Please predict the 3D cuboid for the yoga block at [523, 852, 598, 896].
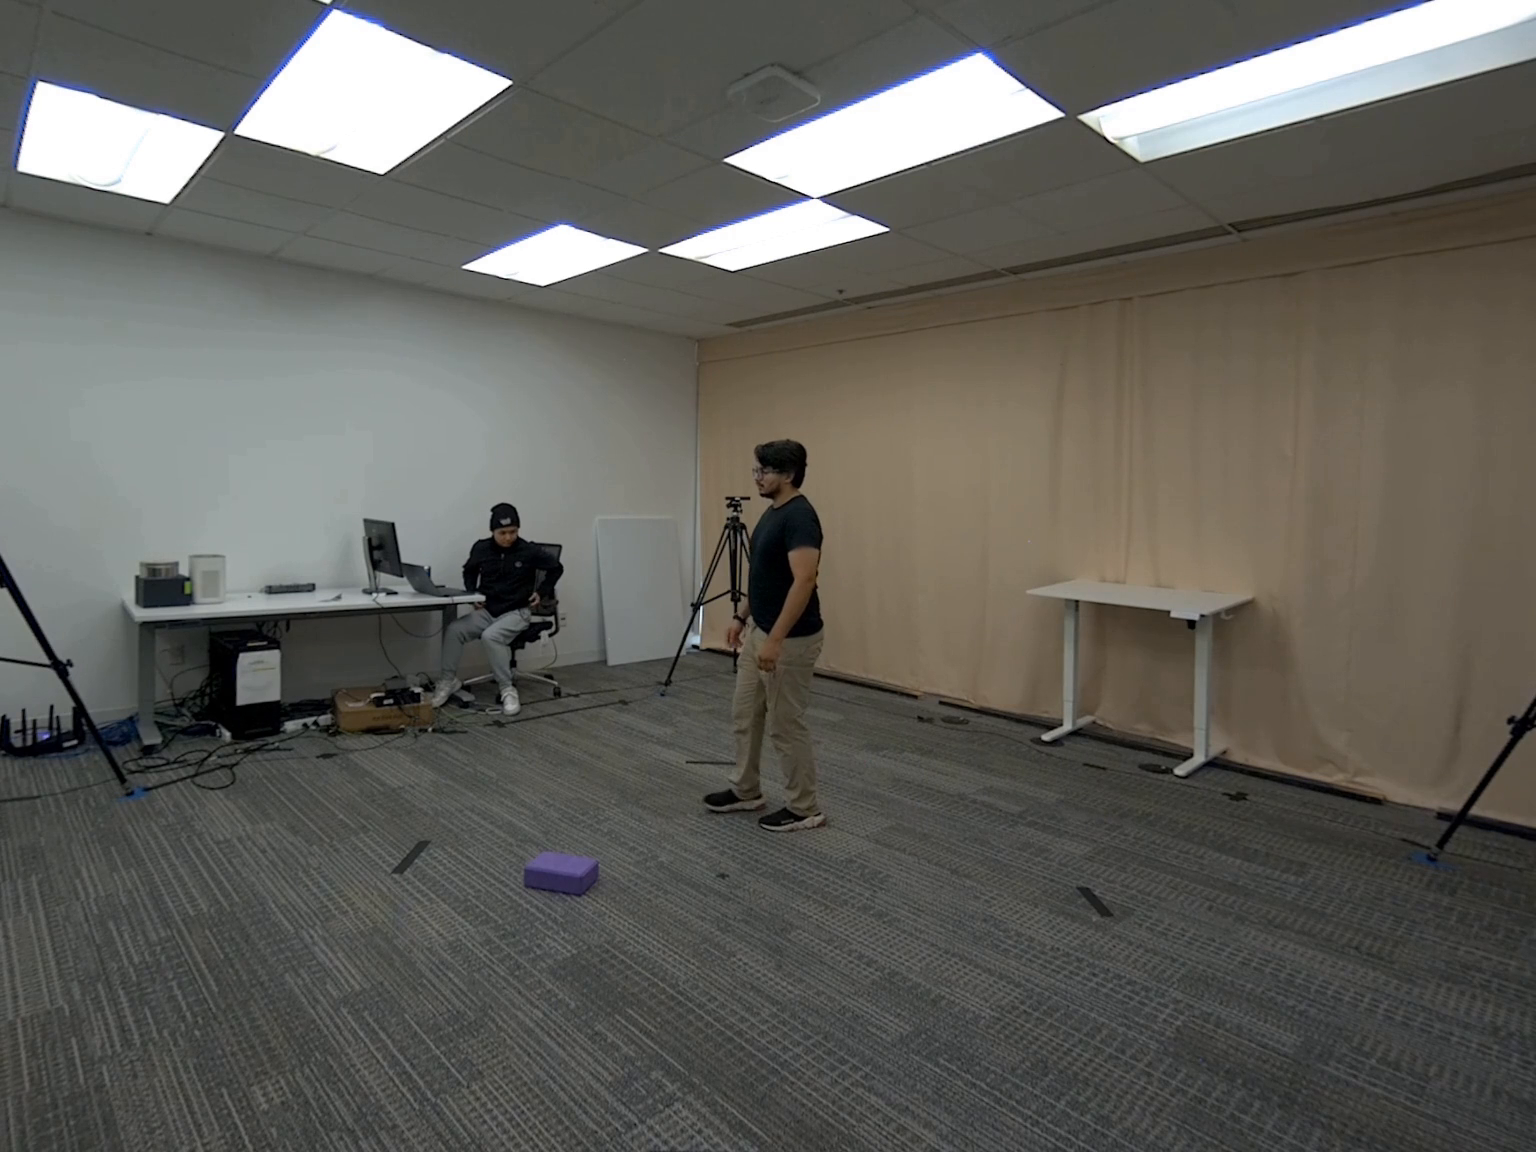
[{"bbox_3d":[-0.748,1.064,3.012,0.232,0.076,0.147,4,4,16],"label":"yoga block"}]
